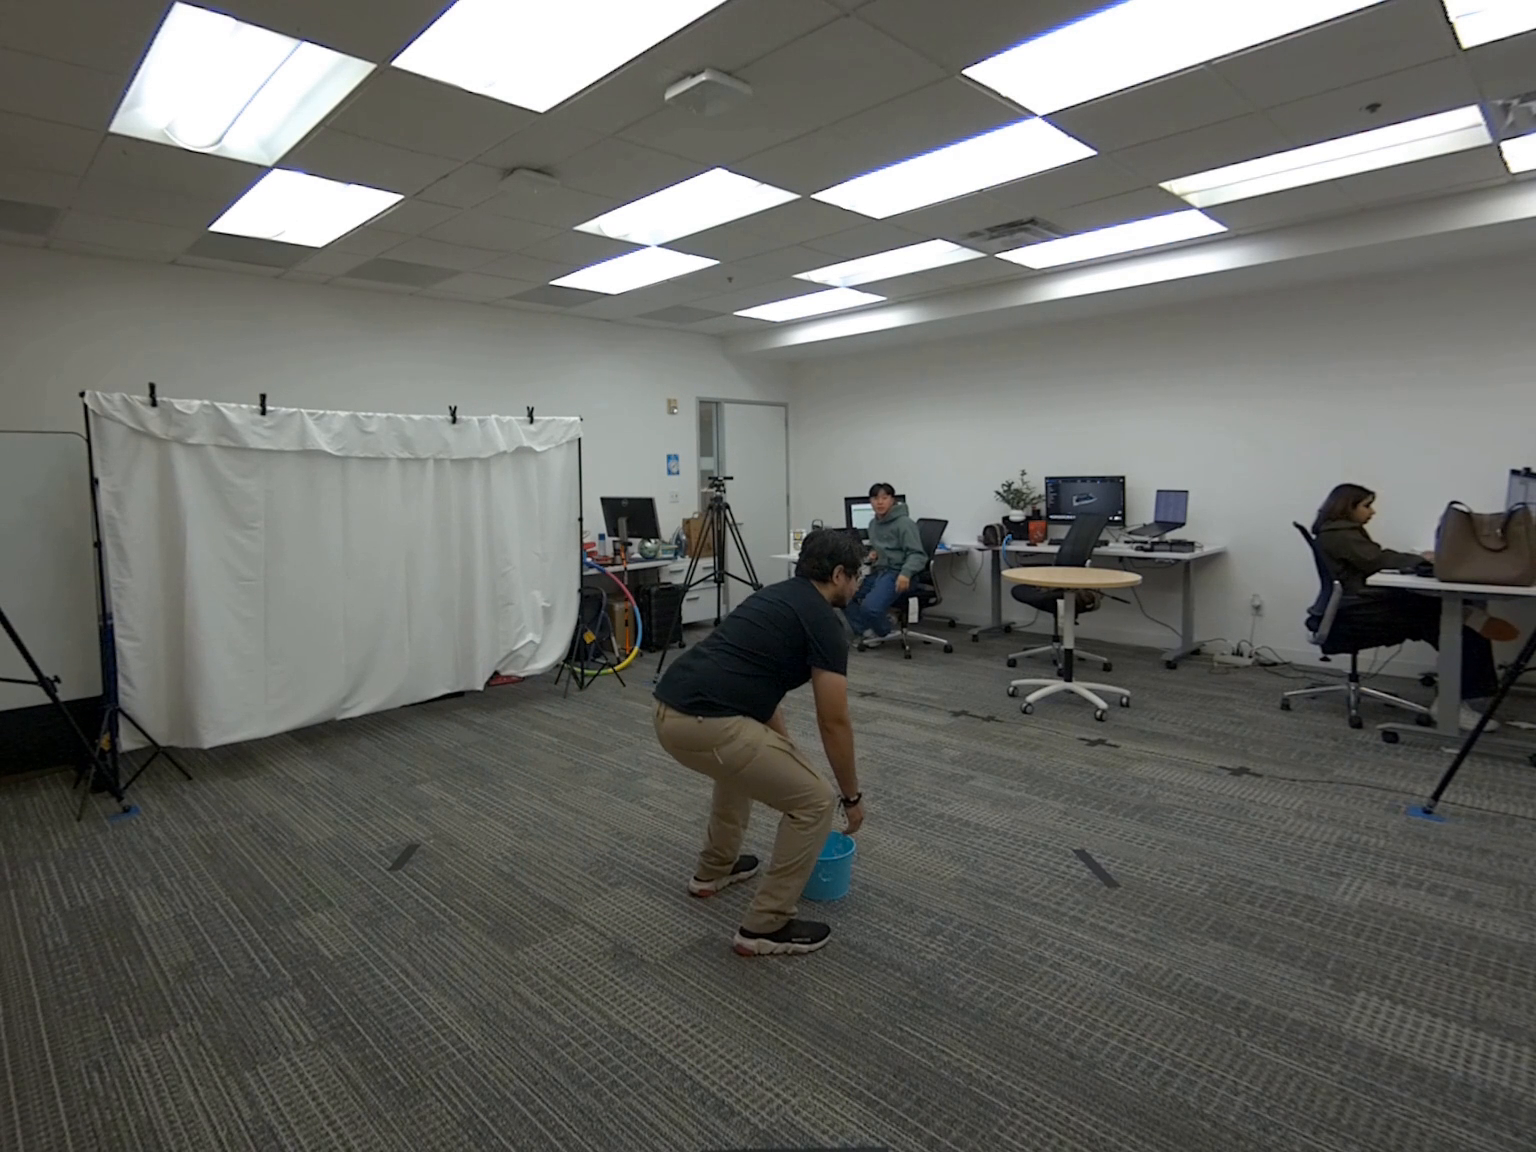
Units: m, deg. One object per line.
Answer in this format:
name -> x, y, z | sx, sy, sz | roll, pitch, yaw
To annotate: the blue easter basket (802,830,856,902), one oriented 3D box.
blue easter basket -> 0.183, 0.976, 2.897 | 0.243, 0.155, 0.245 | 0, 5, -2
